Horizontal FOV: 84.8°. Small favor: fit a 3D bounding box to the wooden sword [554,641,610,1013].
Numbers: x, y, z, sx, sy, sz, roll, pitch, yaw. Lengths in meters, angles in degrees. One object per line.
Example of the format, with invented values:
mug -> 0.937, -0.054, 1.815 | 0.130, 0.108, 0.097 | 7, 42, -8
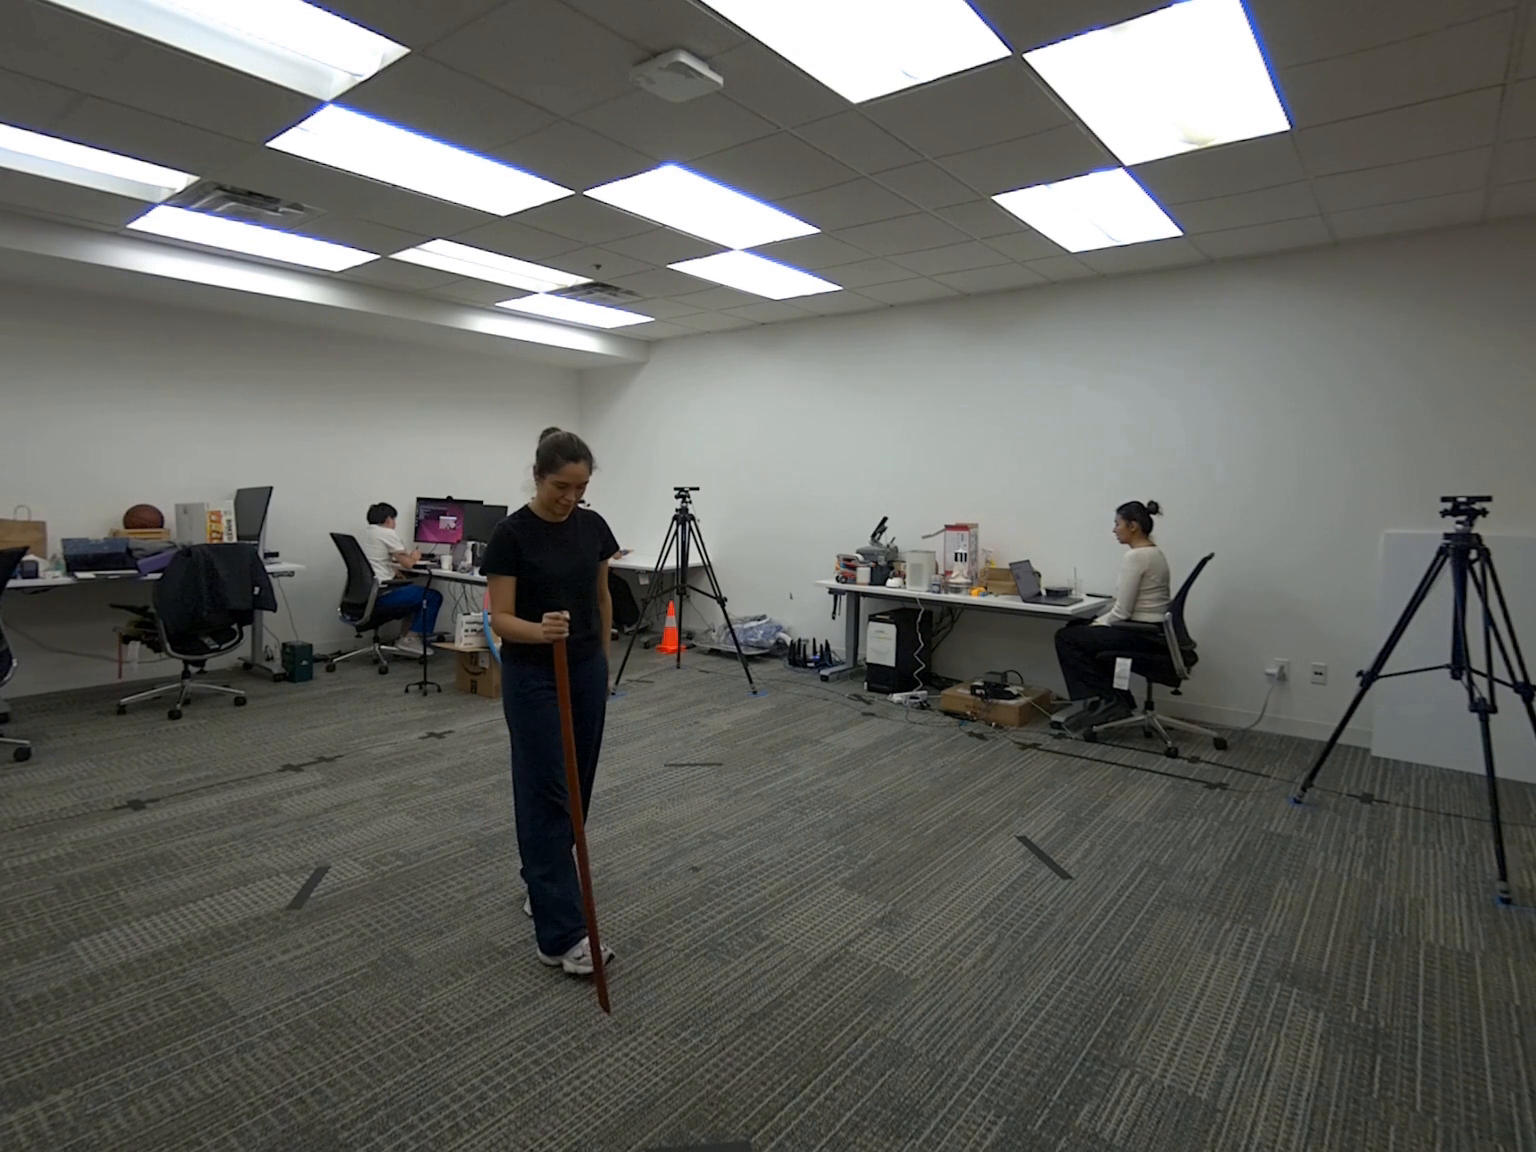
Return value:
wooden sword -> -0.519, 0.611, 2.287 | 0.050, 1.035, 0.024 | -5, -9, -23
